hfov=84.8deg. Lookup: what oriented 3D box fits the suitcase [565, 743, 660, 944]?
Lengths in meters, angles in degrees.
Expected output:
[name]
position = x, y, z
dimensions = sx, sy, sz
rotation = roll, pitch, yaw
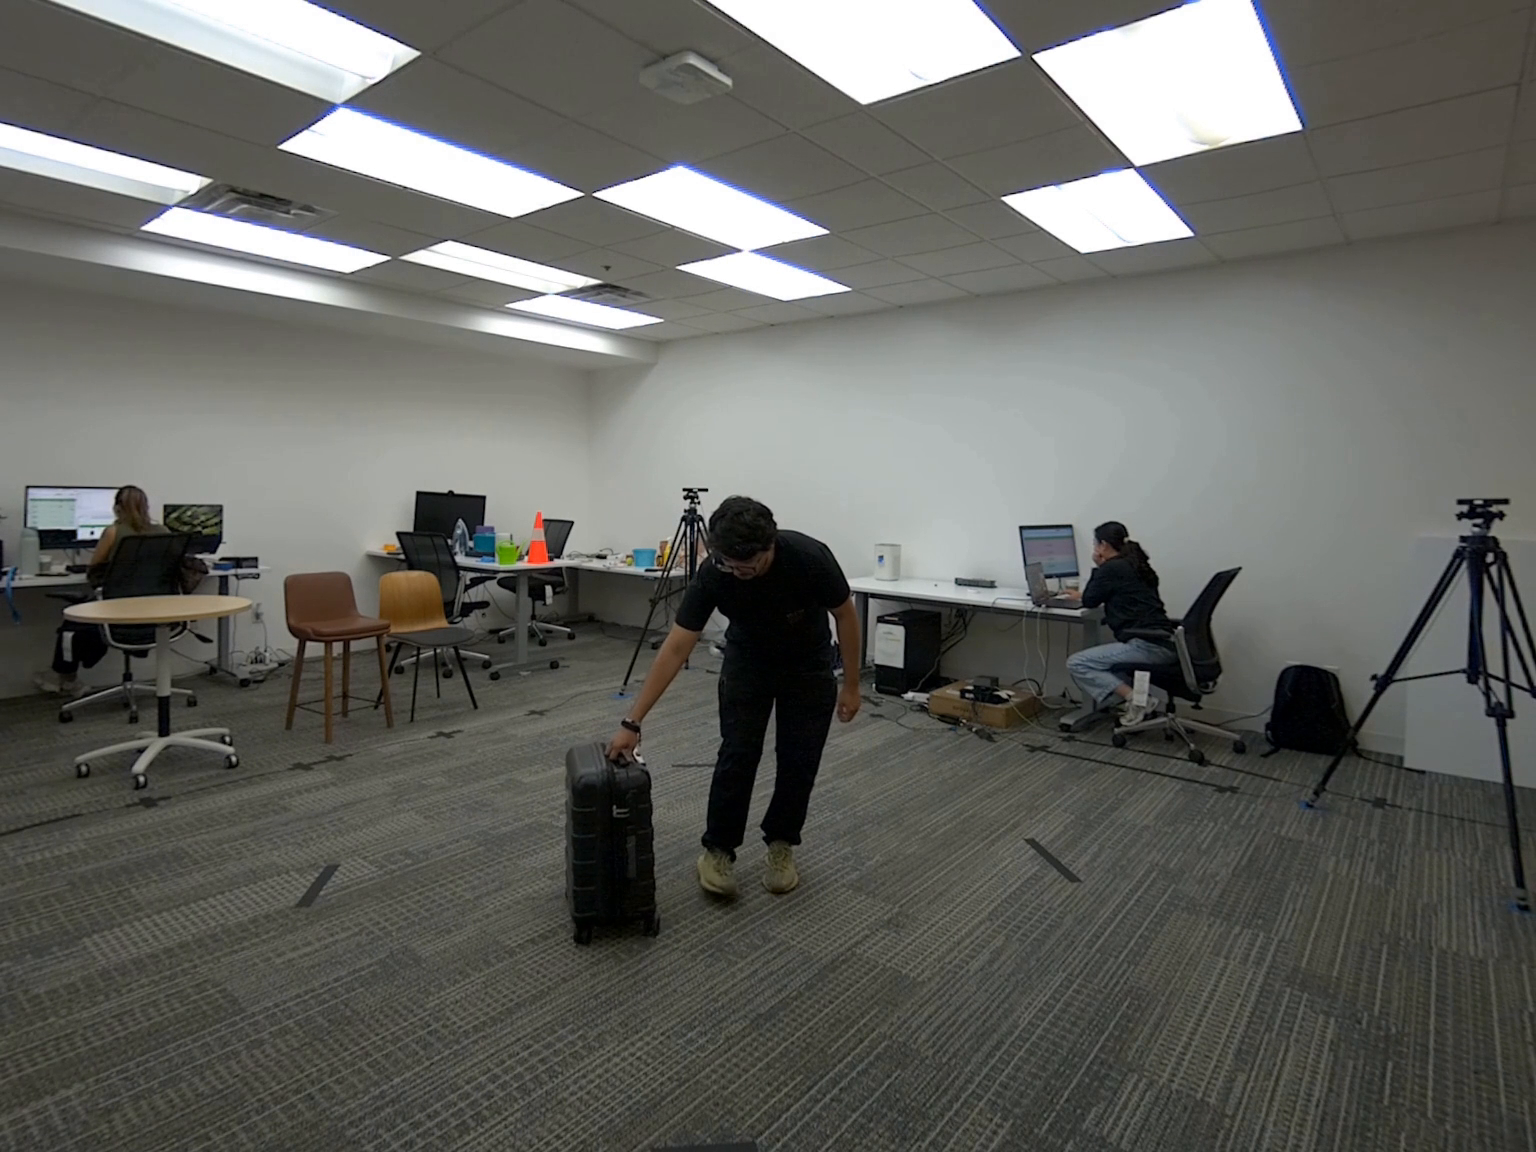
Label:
[suitcase]
position = -0.522, 0.829, 2.717
dimensions = 0.244, 0.547, 0.384
rotation = -1, 6, -18
